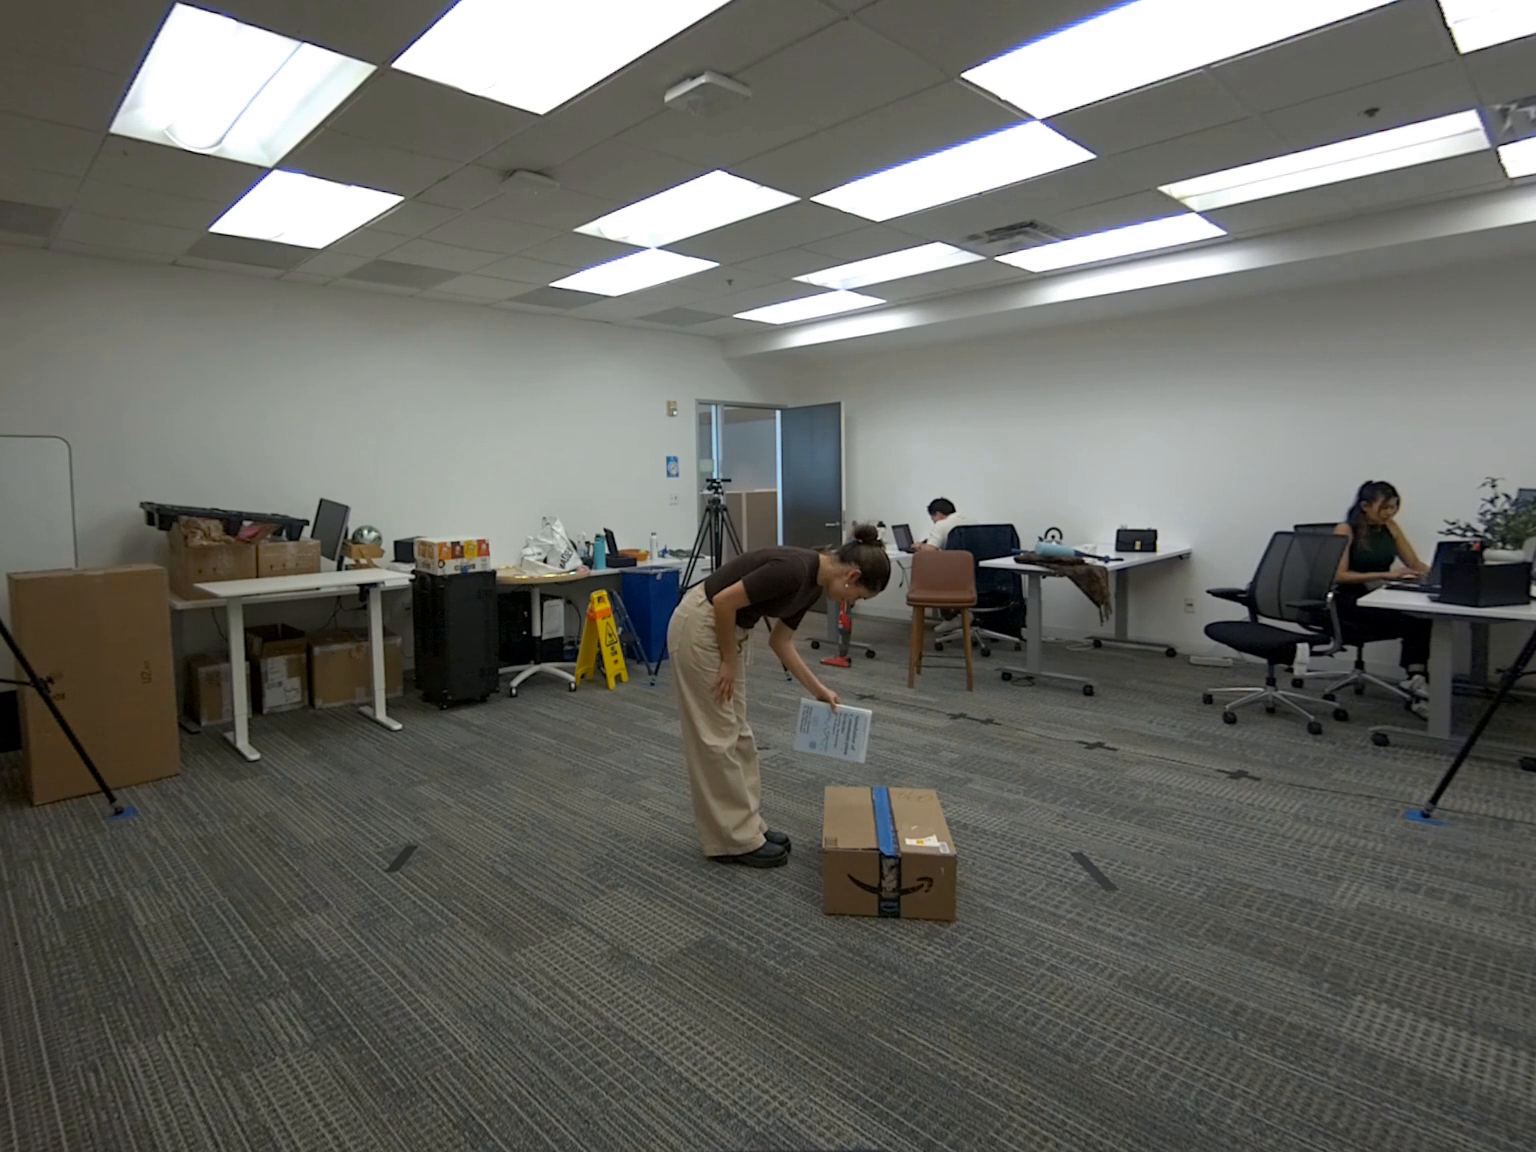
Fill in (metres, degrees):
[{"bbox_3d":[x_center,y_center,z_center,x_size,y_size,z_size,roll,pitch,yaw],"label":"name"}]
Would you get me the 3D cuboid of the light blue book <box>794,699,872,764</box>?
[{"bbox_3d":[0.230,0.565,3.143,0.264,0.192,0.058,8,-8,10],"label":"light blue book"}]
